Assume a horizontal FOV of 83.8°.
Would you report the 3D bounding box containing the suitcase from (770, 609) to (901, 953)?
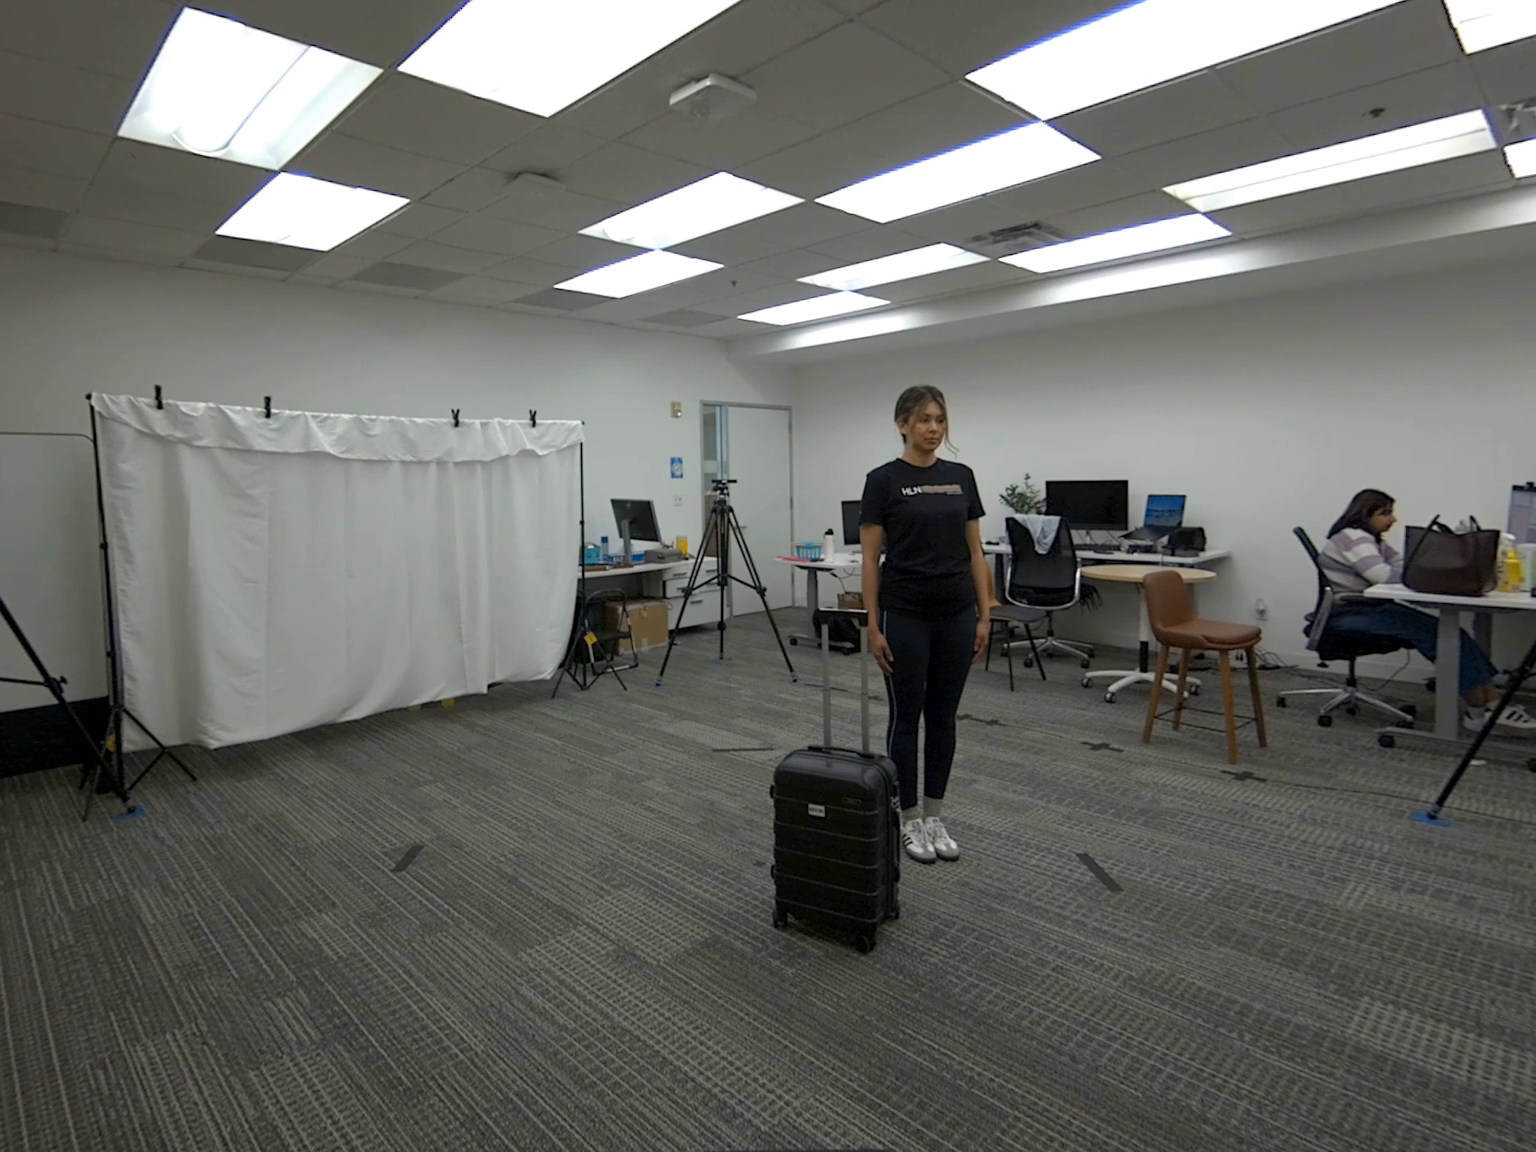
[{"bbox_3d":[0.214,0.619,2.631,0.393,0.973,0.252,1,7,28],"label":"suitcase"}]
